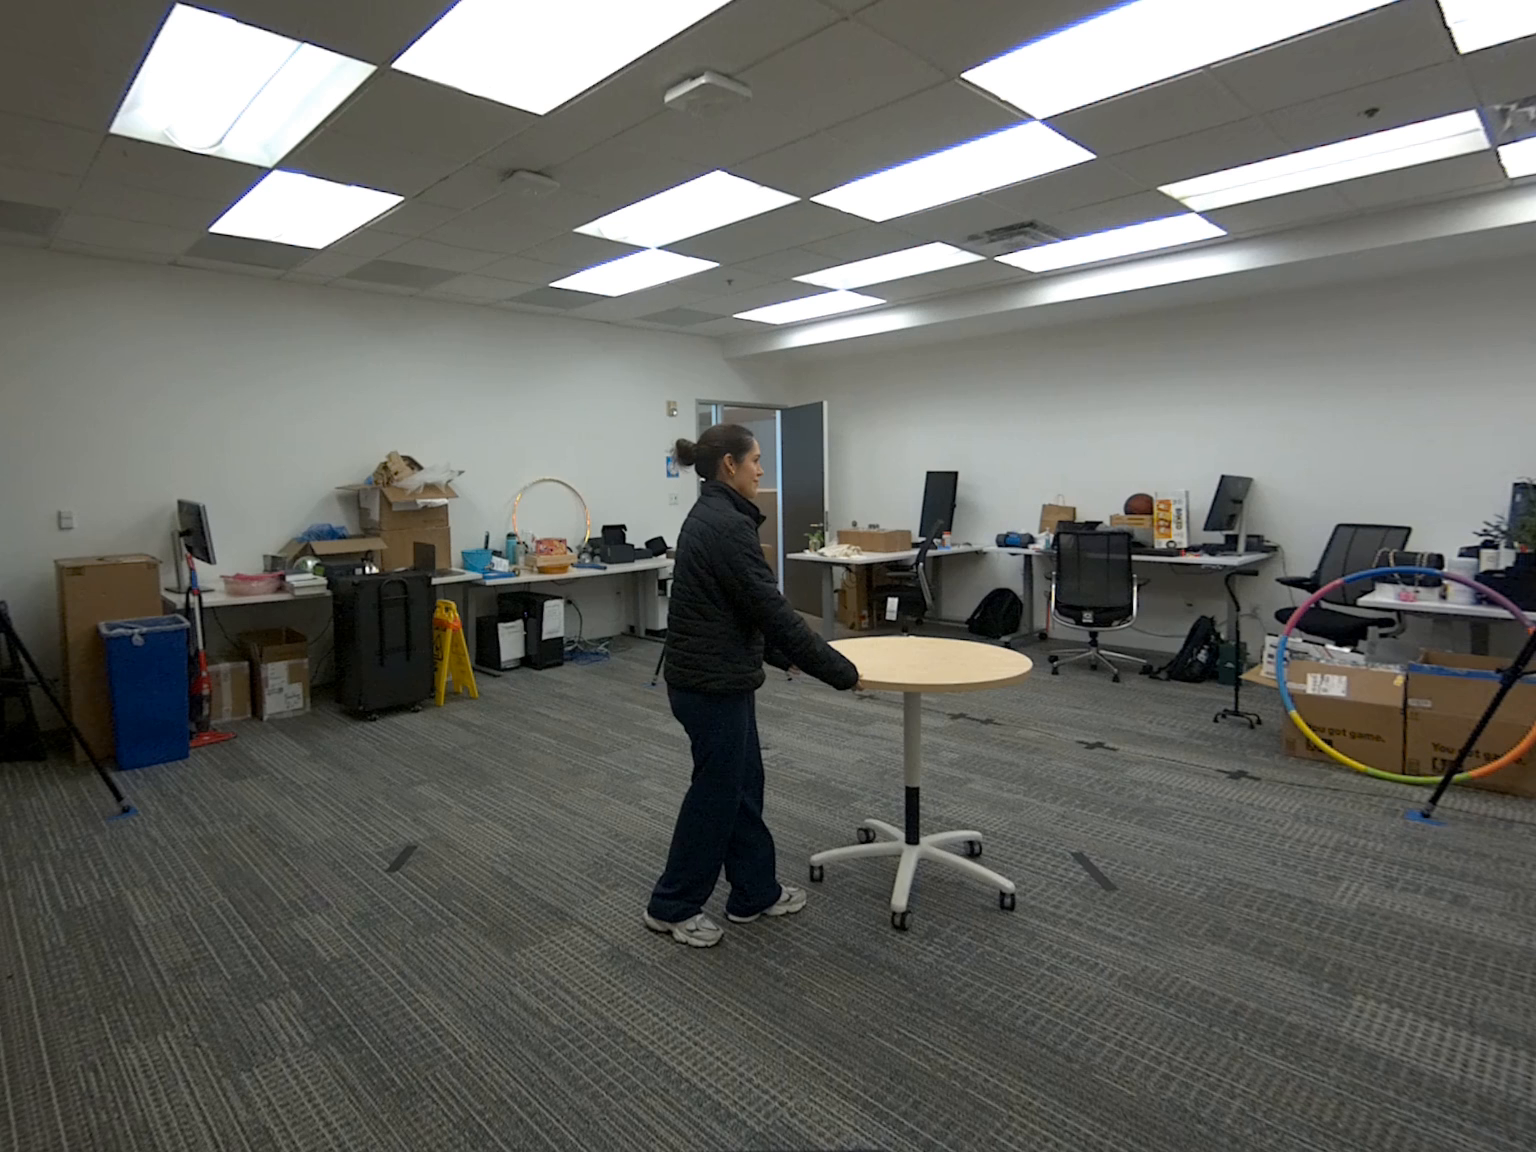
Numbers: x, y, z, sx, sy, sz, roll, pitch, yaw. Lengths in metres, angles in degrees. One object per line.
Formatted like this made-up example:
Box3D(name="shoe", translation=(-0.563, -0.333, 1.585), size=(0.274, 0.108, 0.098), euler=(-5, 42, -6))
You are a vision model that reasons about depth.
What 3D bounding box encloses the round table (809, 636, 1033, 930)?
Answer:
Box3D(name="round table", translation=(0.475, 0.661, 2.935), size=(0.784, 0.783, 0.789), euler=(-1, 5, -2))
